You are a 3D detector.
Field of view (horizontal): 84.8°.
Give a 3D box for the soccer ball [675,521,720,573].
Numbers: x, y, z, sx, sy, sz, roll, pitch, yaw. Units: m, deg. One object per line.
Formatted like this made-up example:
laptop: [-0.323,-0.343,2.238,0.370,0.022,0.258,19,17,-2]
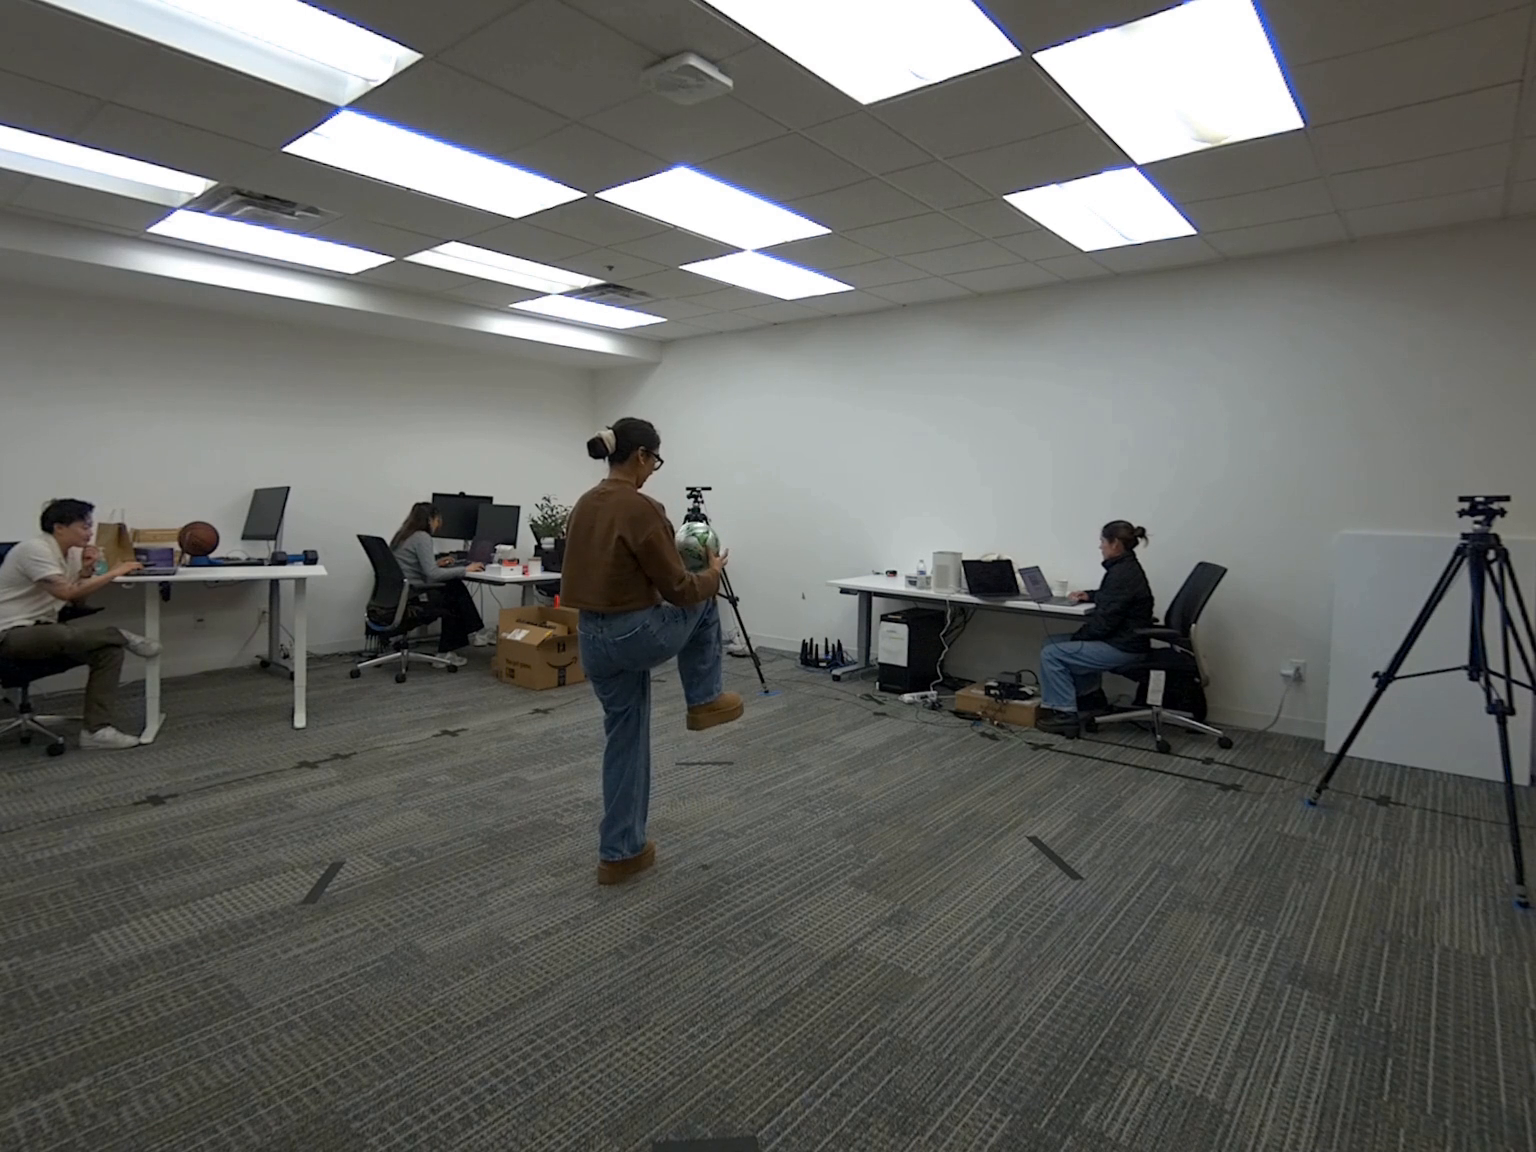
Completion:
soccer ball: [-0.277,-0.104,3.213,0.187,0.187,0.188,1,4,-2]
